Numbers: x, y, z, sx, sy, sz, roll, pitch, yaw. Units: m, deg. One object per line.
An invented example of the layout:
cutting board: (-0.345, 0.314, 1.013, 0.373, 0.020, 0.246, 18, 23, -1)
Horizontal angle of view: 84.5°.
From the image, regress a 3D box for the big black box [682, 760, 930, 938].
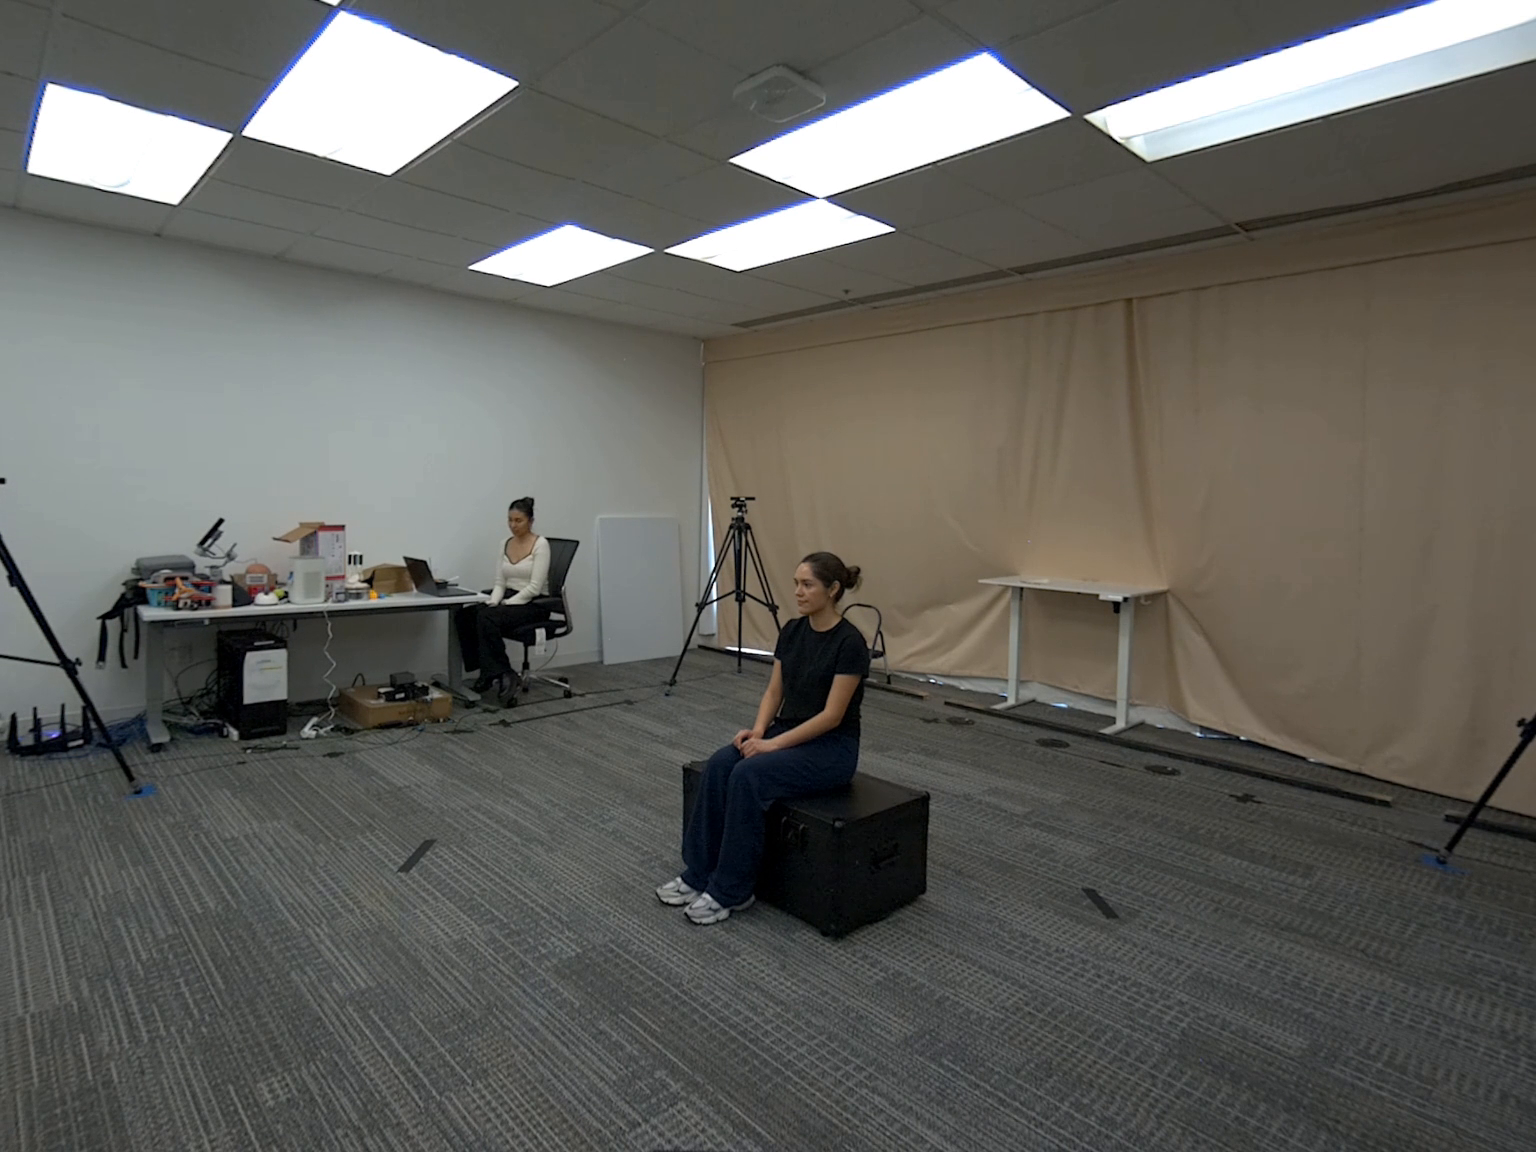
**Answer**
big black box: (0.093, 0.927, 3.088, 0.509, 0.395, 0.884, -2, 6, -44)
